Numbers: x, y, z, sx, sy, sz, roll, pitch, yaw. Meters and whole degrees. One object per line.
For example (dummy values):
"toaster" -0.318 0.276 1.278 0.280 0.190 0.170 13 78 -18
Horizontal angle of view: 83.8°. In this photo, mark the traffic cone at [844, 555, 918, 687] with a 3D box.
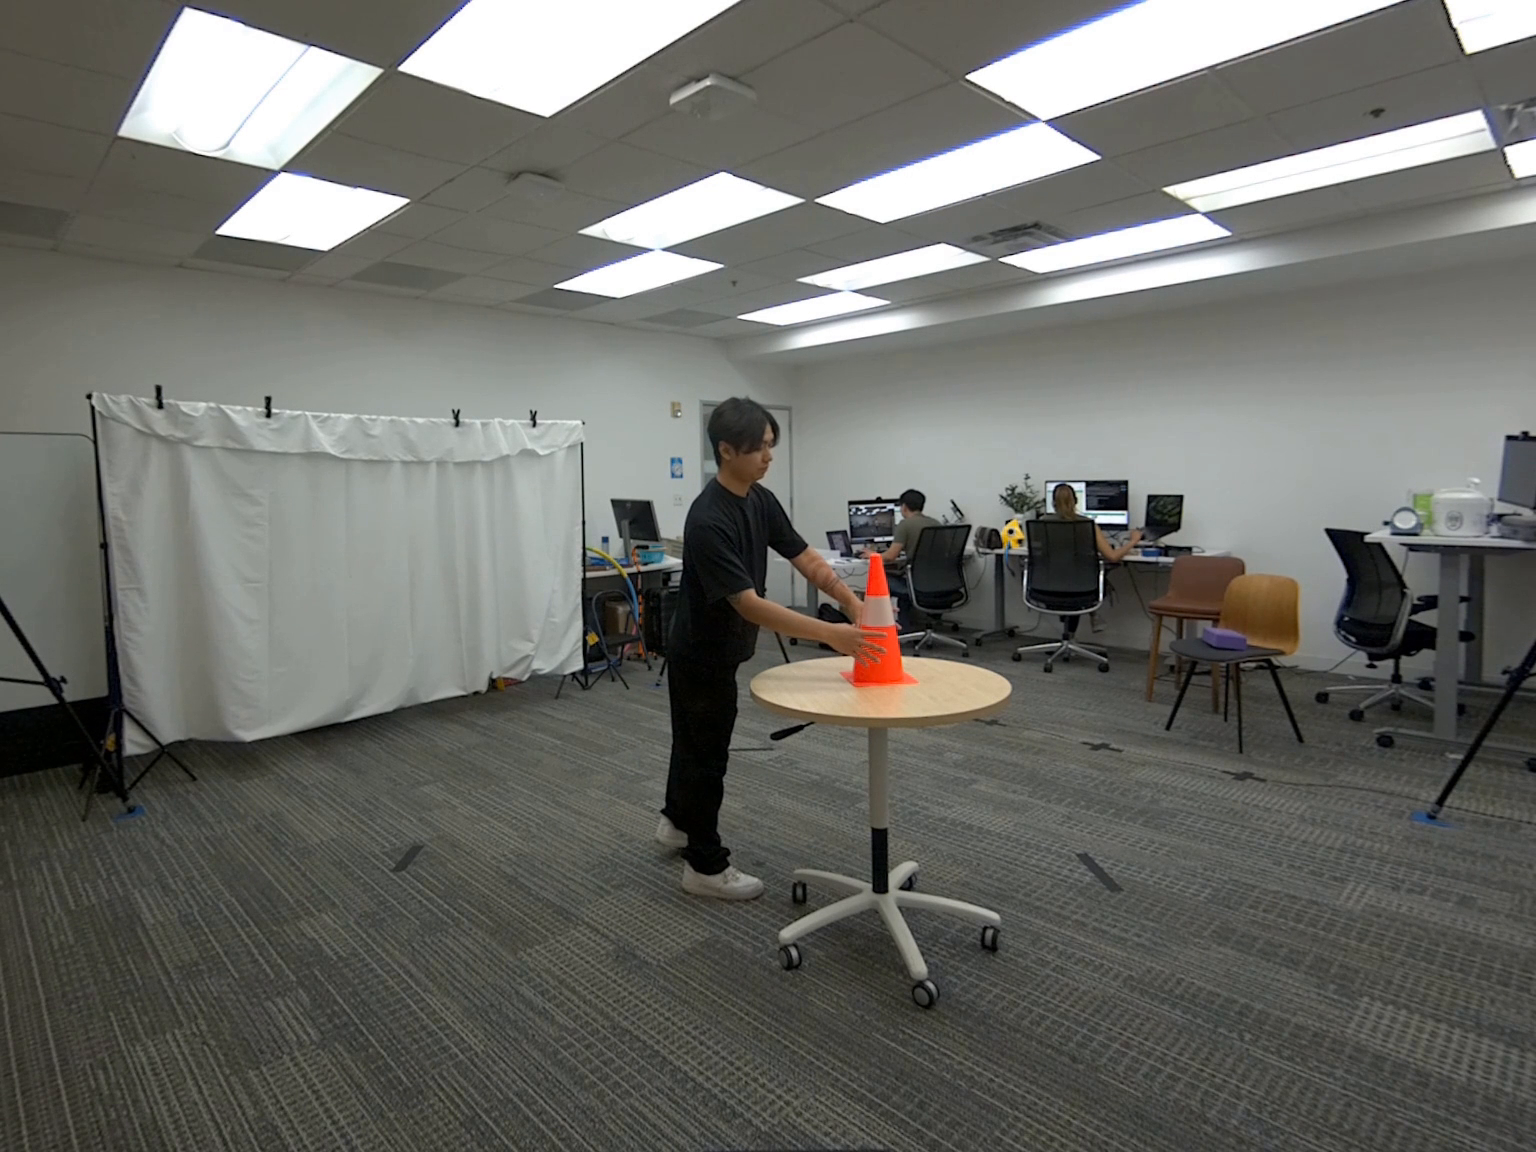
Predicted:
"traffic cone" 0.333 0.129 2.608 0.203 0.383 0.206 -3 3 -10
